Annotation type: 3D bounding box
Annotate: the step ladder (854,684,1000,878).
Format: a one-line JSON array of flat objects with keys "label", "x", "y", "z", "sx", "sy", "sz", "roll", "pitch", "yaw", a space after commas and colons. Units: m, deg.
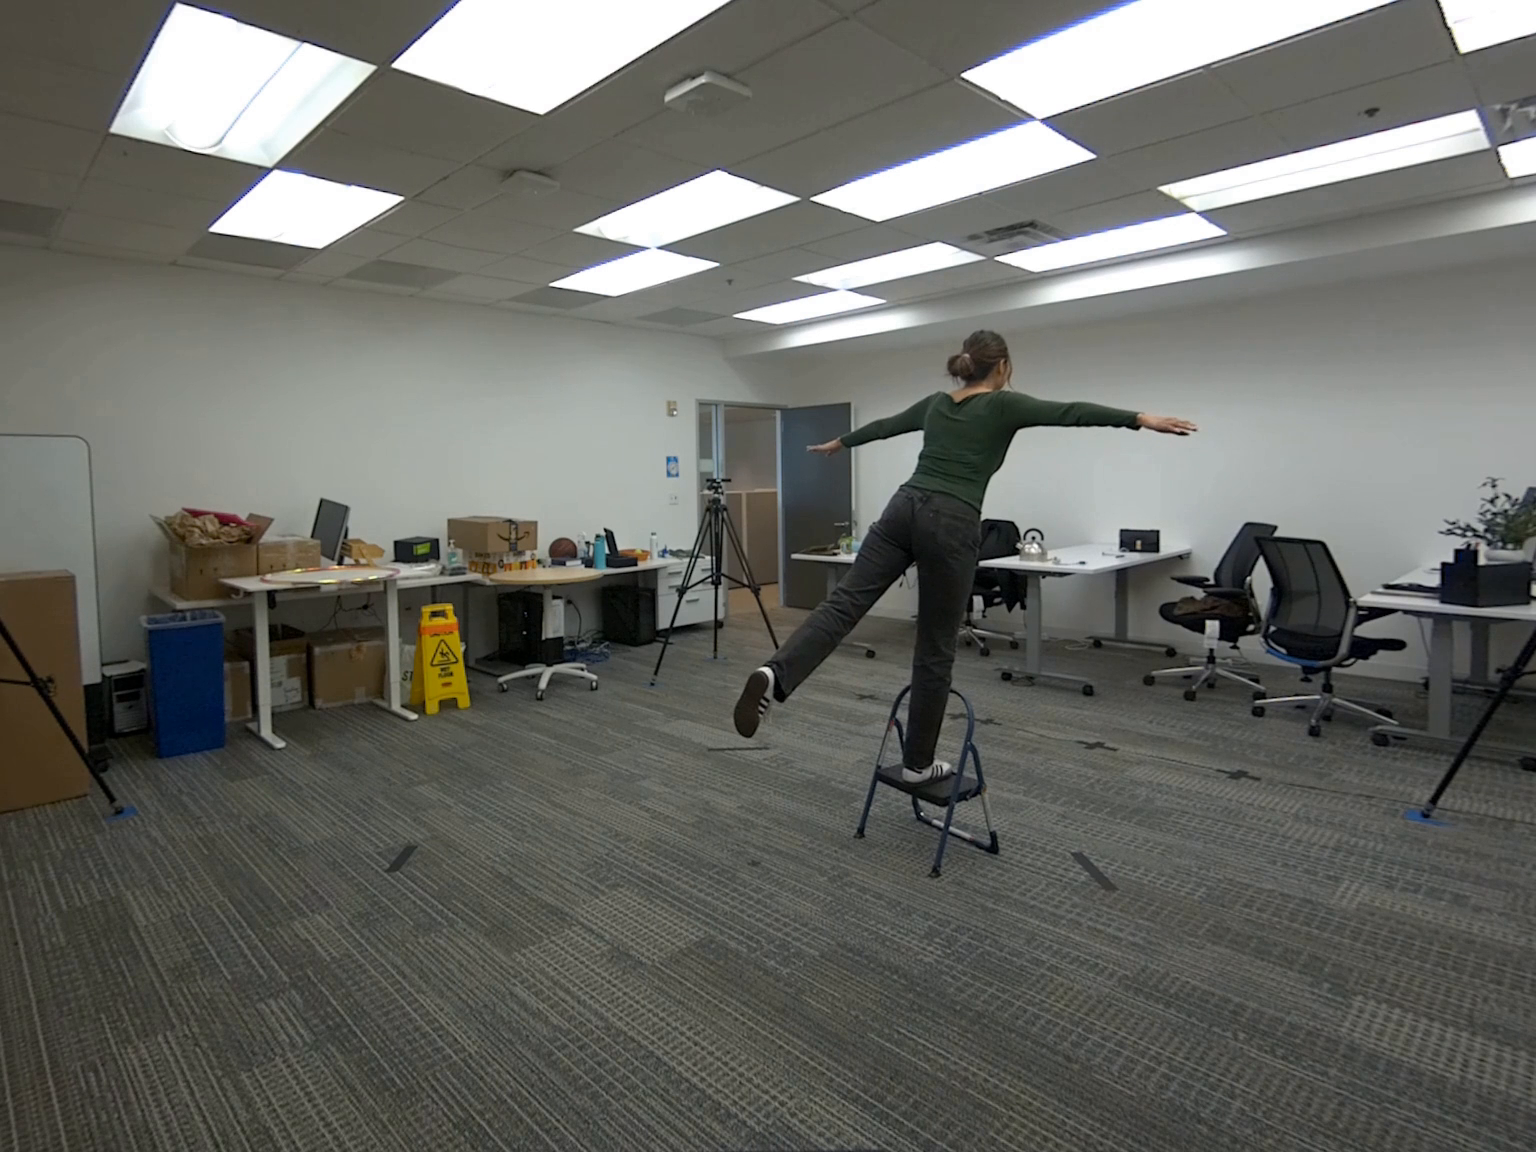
[{"label": "step ladder", "x": 0.595, "y": 0.720, "z": 3.218, "sx": 0.340, "sy": 0.604, "sz": 0.443, "roll": -3, "pitch": 5, "yaw": -34}]
